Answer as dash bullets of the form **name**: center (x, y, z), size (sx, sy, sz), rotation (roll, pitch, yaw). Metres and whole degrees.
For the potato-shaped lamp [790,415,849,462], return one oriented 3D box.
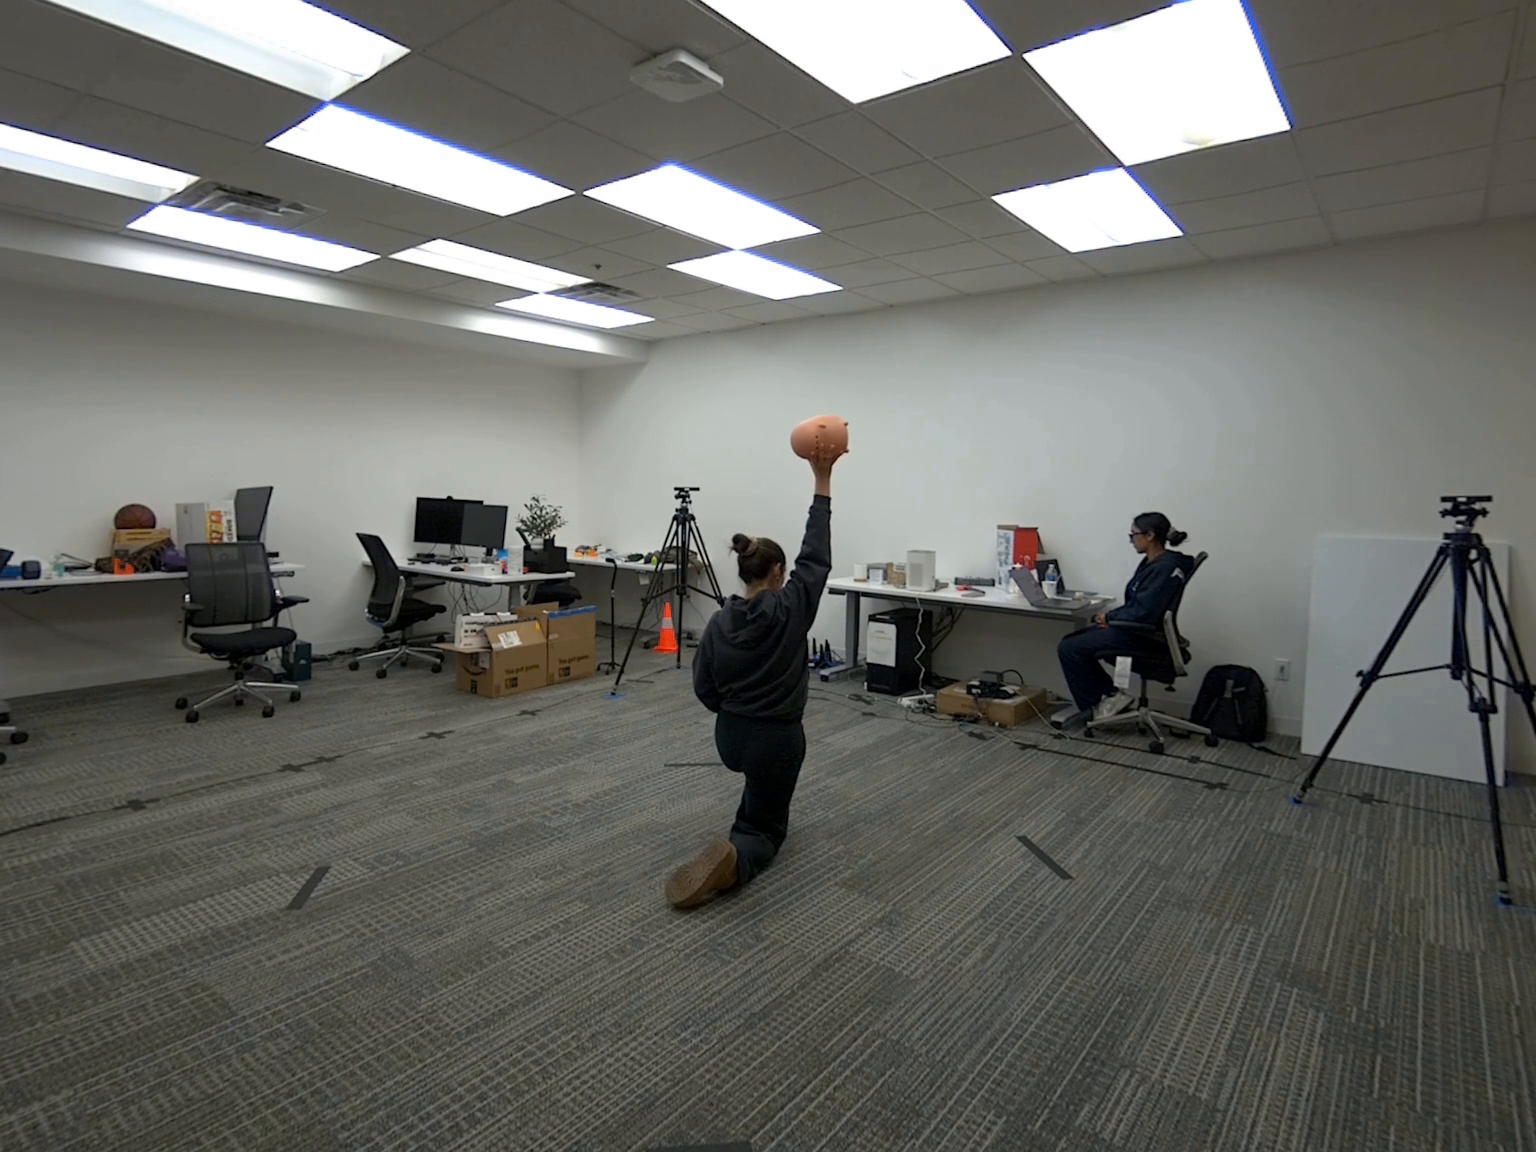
- **potato-shaped lamp**: center (0.179, -0.505, 3.089), size (0.194, 0.161, 0.178), rotation (-16, 26, -29)
